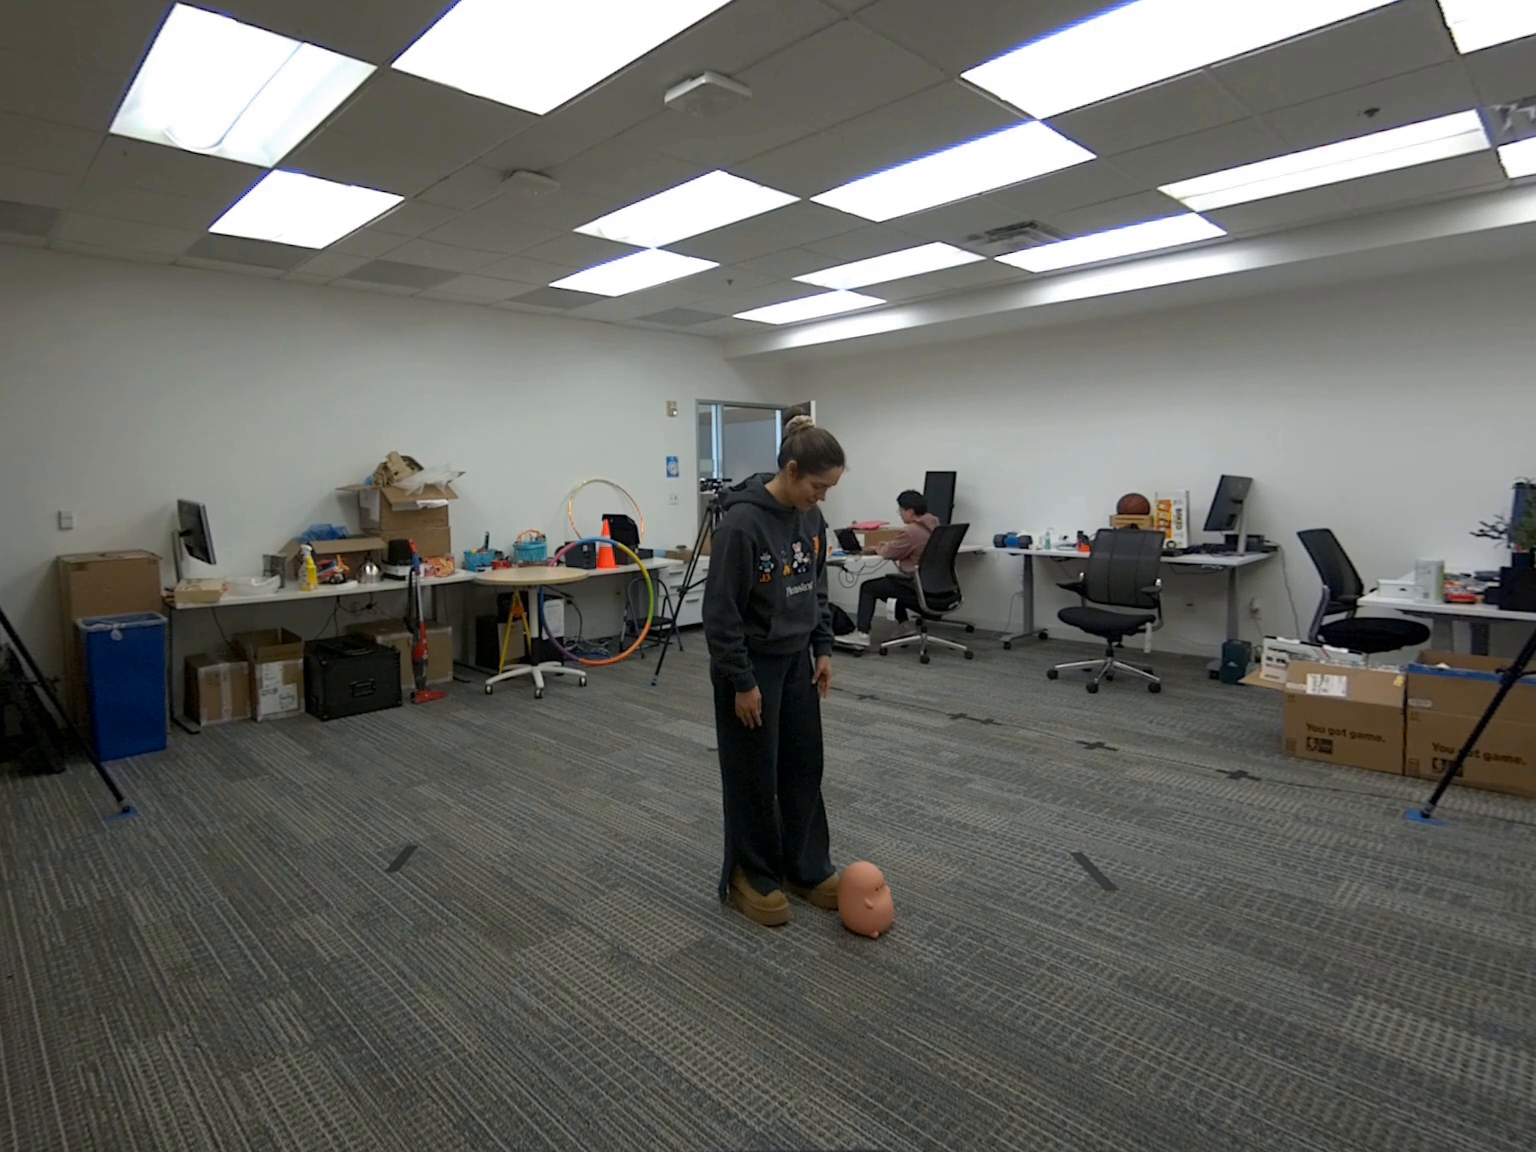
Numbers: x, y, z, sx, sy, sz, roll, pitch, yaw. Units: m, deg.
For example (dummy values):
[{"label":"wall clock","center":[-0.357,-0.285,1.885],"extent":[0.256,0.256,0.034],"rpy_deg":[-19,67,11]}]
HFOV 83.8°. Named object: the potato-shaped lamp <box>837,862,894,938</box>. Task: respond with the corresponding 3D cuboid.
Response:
[{"label":"potato-shaped lamp","center":[0.302,0.988,2.638],"extent":[0.176,0.198,0.160],"rpy_deg":[1,3,36]}]
